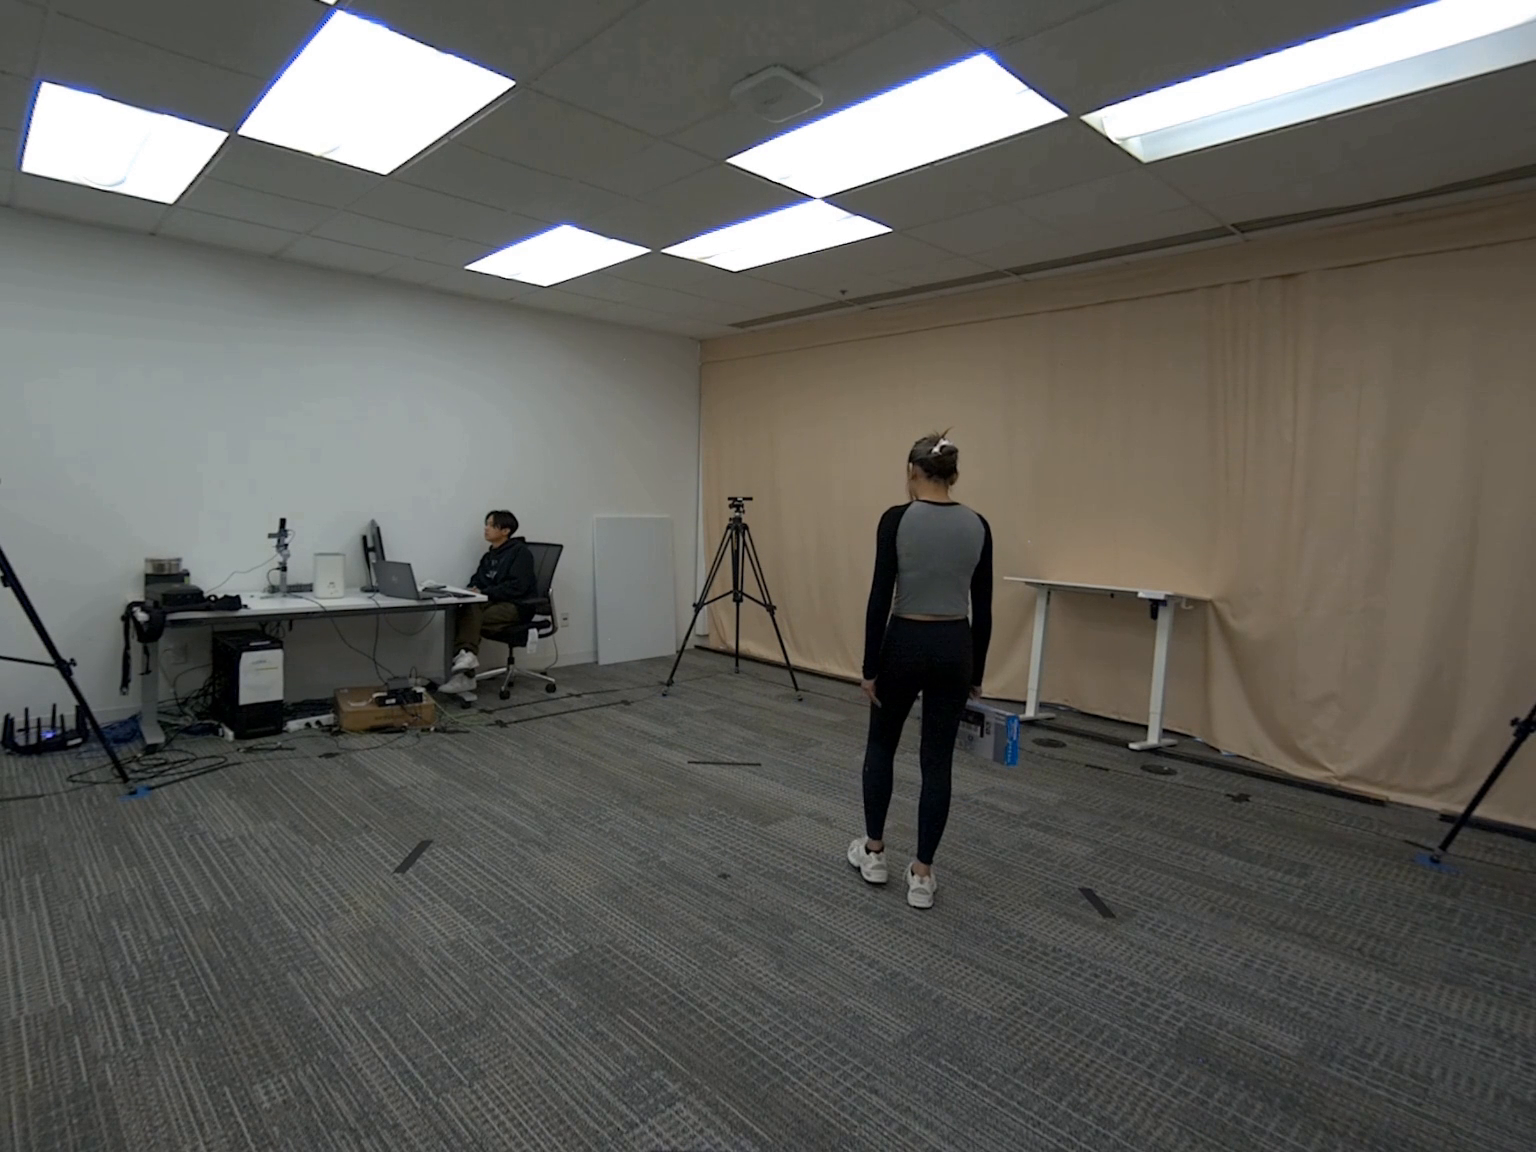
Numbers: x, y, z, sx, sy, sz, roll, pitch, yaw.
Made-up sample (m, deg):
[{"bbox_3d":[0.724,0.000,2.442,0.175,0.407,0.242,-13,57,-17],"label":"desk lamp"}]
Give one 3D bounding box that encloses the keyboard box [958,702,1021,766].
[{"bbox_3d":[0.715,0.549,3.073,0.058,0.176,0.447,2,2,-31],"label":"keyboard box"}]
